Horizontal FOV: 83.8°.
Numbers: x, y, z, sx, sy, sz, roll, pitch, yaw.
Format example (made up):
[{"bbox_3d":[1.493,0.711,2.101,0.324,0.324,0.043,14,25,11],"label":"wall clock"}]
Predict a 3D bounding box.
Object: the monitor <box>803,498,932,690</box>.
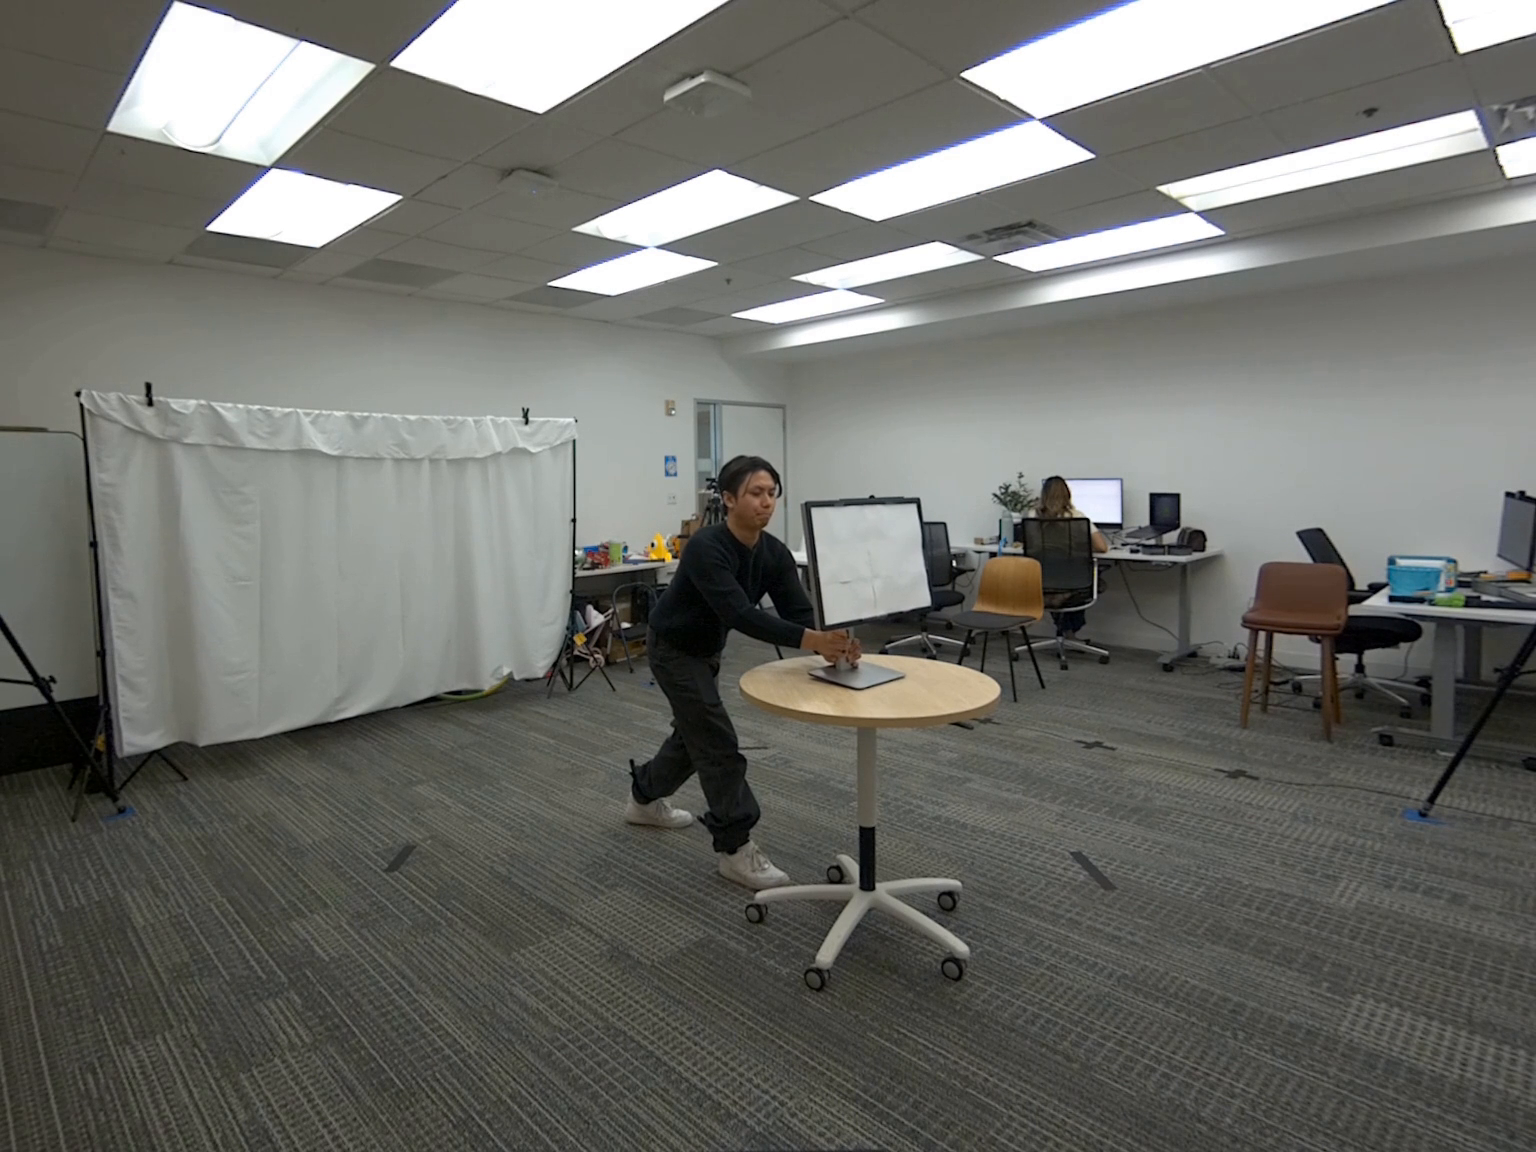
[{"bbox_3d":[0.288,0.042,2.578,0.193,0.520,0.525,8,9,44],"label":"monitor"}]
